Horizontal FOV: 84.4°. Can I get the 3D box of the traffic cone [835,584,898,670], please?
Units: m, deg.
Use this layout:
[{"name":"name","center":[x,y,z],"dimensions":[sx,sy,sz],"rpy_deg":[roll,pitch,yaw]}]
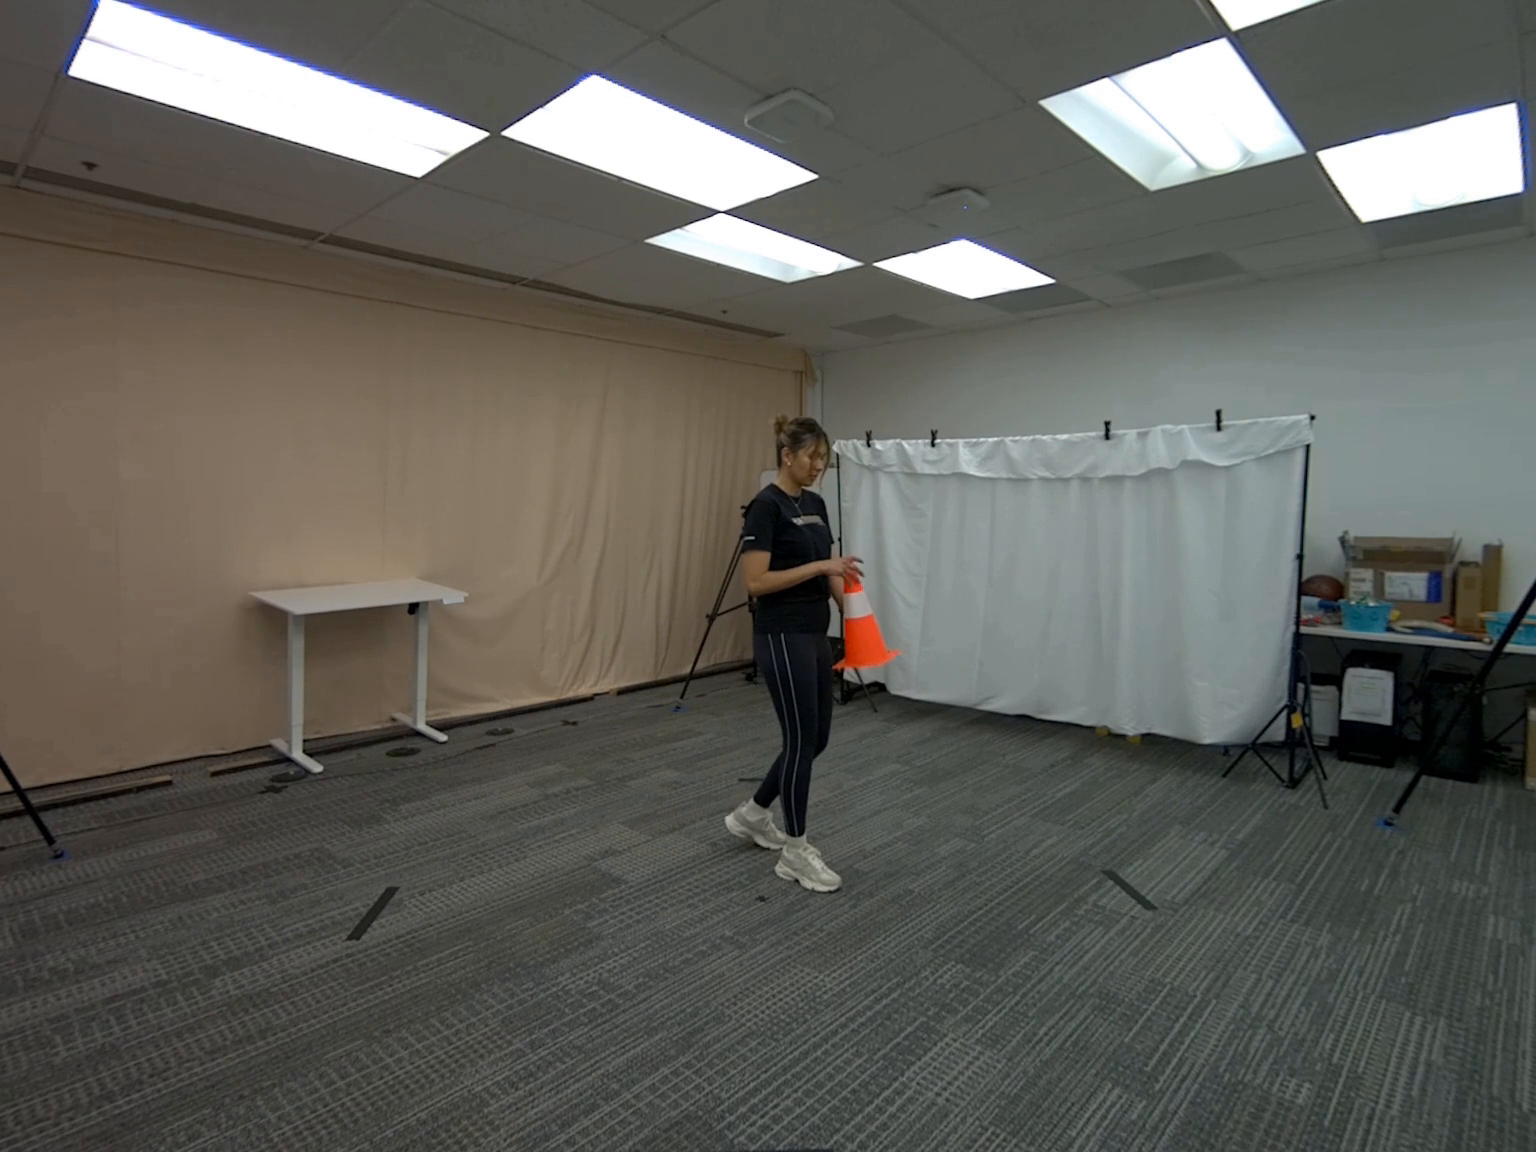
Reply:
[{"name":"traffic cone","center":[0.327,0.123,3.077],"dimensions":[0.207,0.383,0.202],"rpy_deg":[-10,4,19]}]
